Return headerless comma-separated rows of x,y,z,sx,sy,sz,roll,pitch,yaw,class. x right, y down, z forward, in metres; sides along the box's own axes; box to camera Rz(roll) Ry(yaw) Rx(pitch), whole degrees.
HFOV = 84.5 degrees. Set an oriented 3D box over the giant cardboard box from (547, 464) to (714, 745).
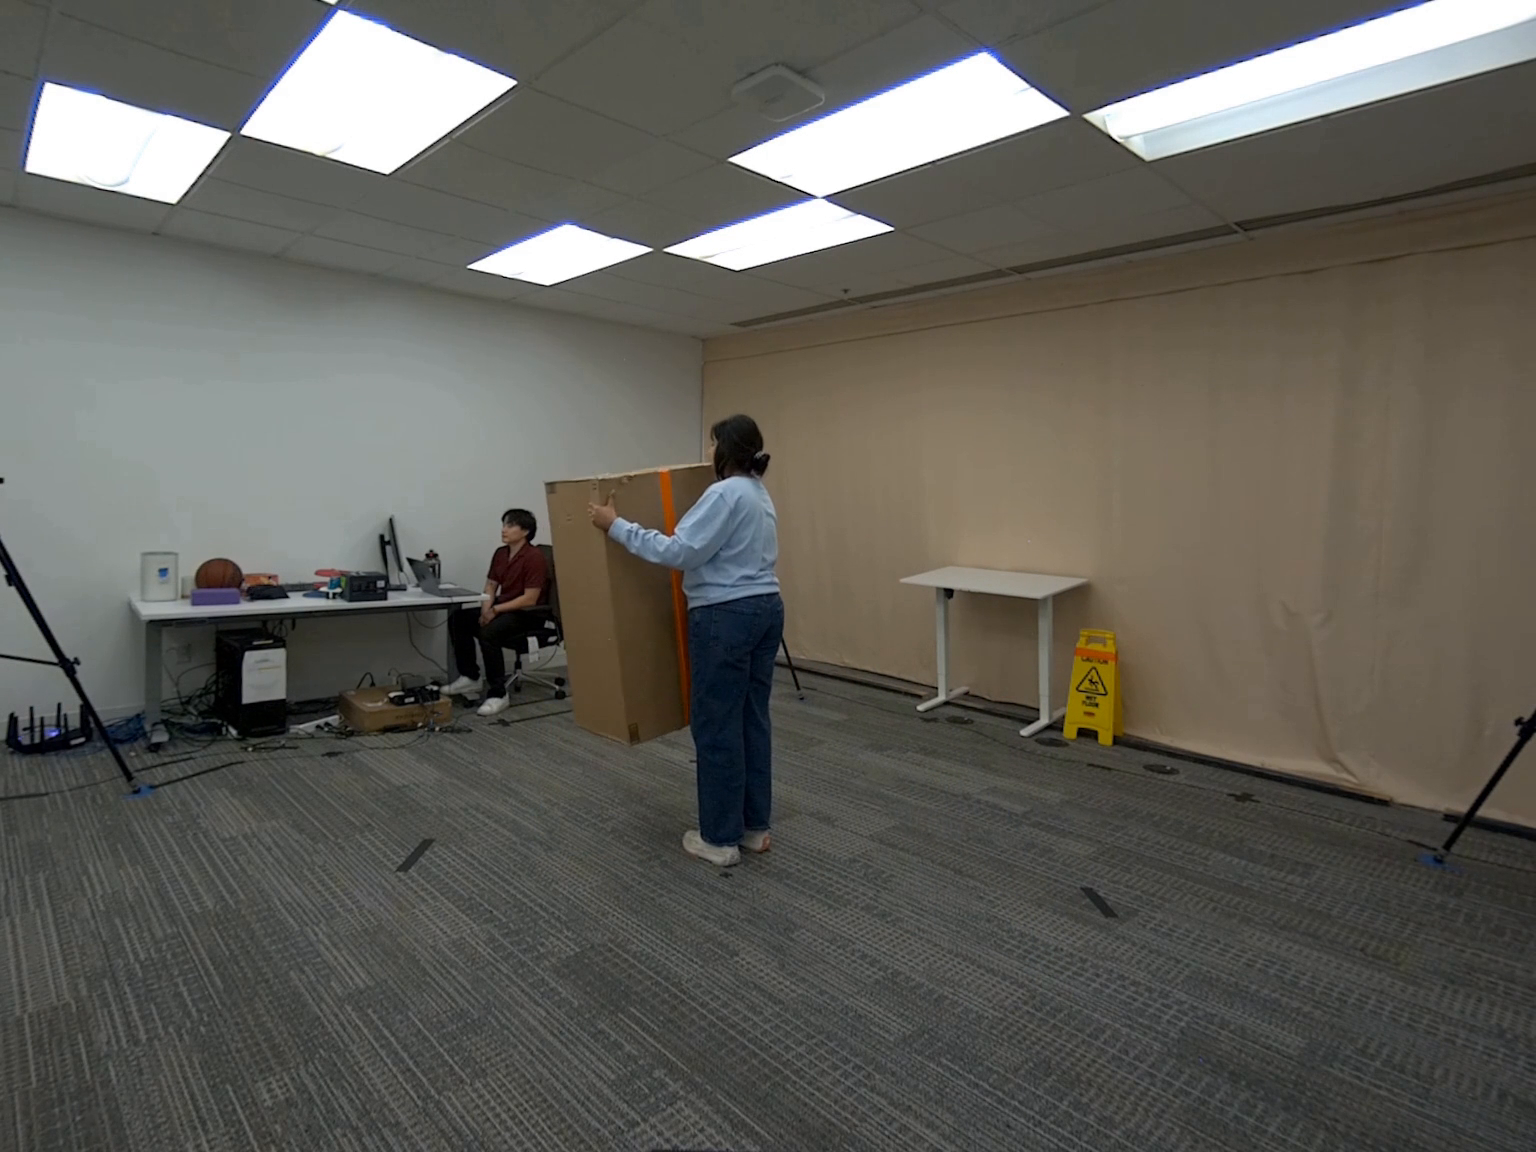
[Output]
-0.513,0.085,3.460,0.573,1.020,0.458,-12,10,-40,giant cardboard box
